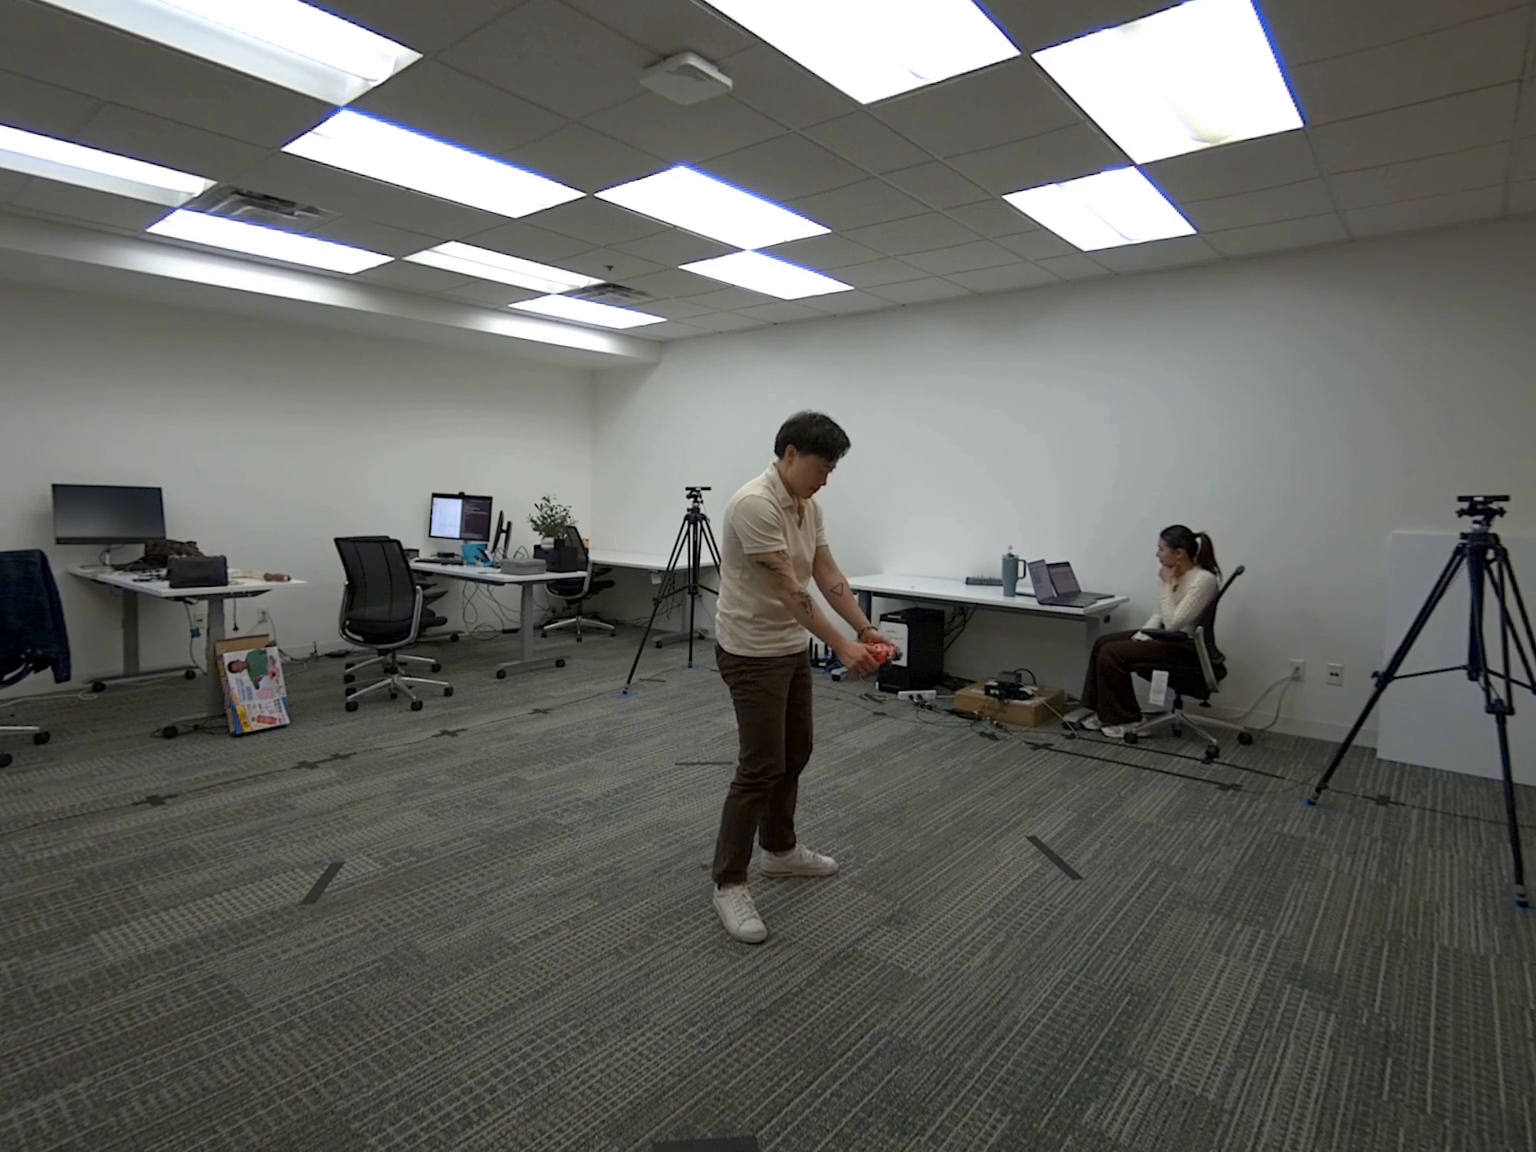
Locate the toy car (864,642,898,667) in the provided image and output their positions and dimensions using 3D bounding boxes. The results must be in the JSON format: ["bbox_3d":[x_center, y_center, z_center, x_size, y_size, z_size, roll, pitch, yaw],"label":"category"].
[{"bbox_3d":[0.327,0.262,2.688,0.133,0.084,0.247,-10,-10,23],"label":"toy car"}]
